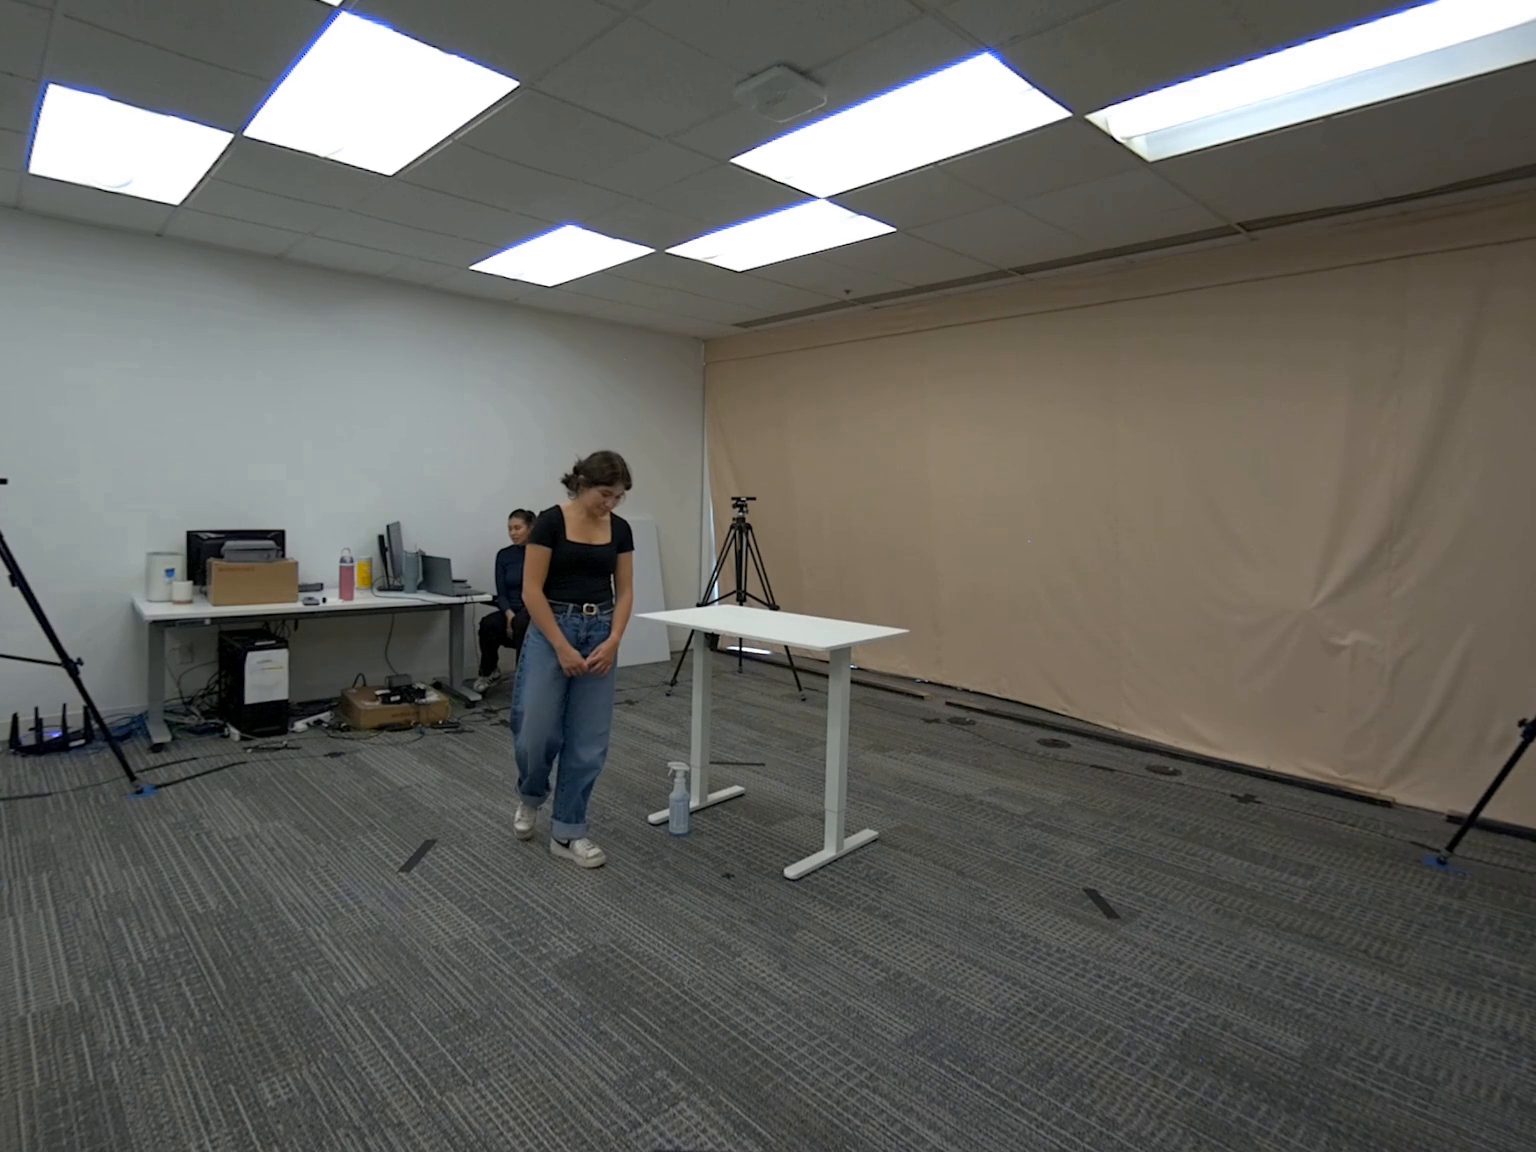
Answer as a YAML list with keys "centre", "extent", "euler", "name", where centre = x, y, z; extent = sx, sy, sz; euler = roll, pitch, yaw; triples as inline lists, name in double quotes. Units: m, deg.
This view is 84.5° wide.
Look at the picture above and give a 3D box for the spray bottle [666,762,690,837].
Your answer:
- centre: [-0.384, 0.926, 3.495]
  extent: [0.091, 0.296, 0.086]
  euler: [0, 5, 22]
  name: "spray bottle"
